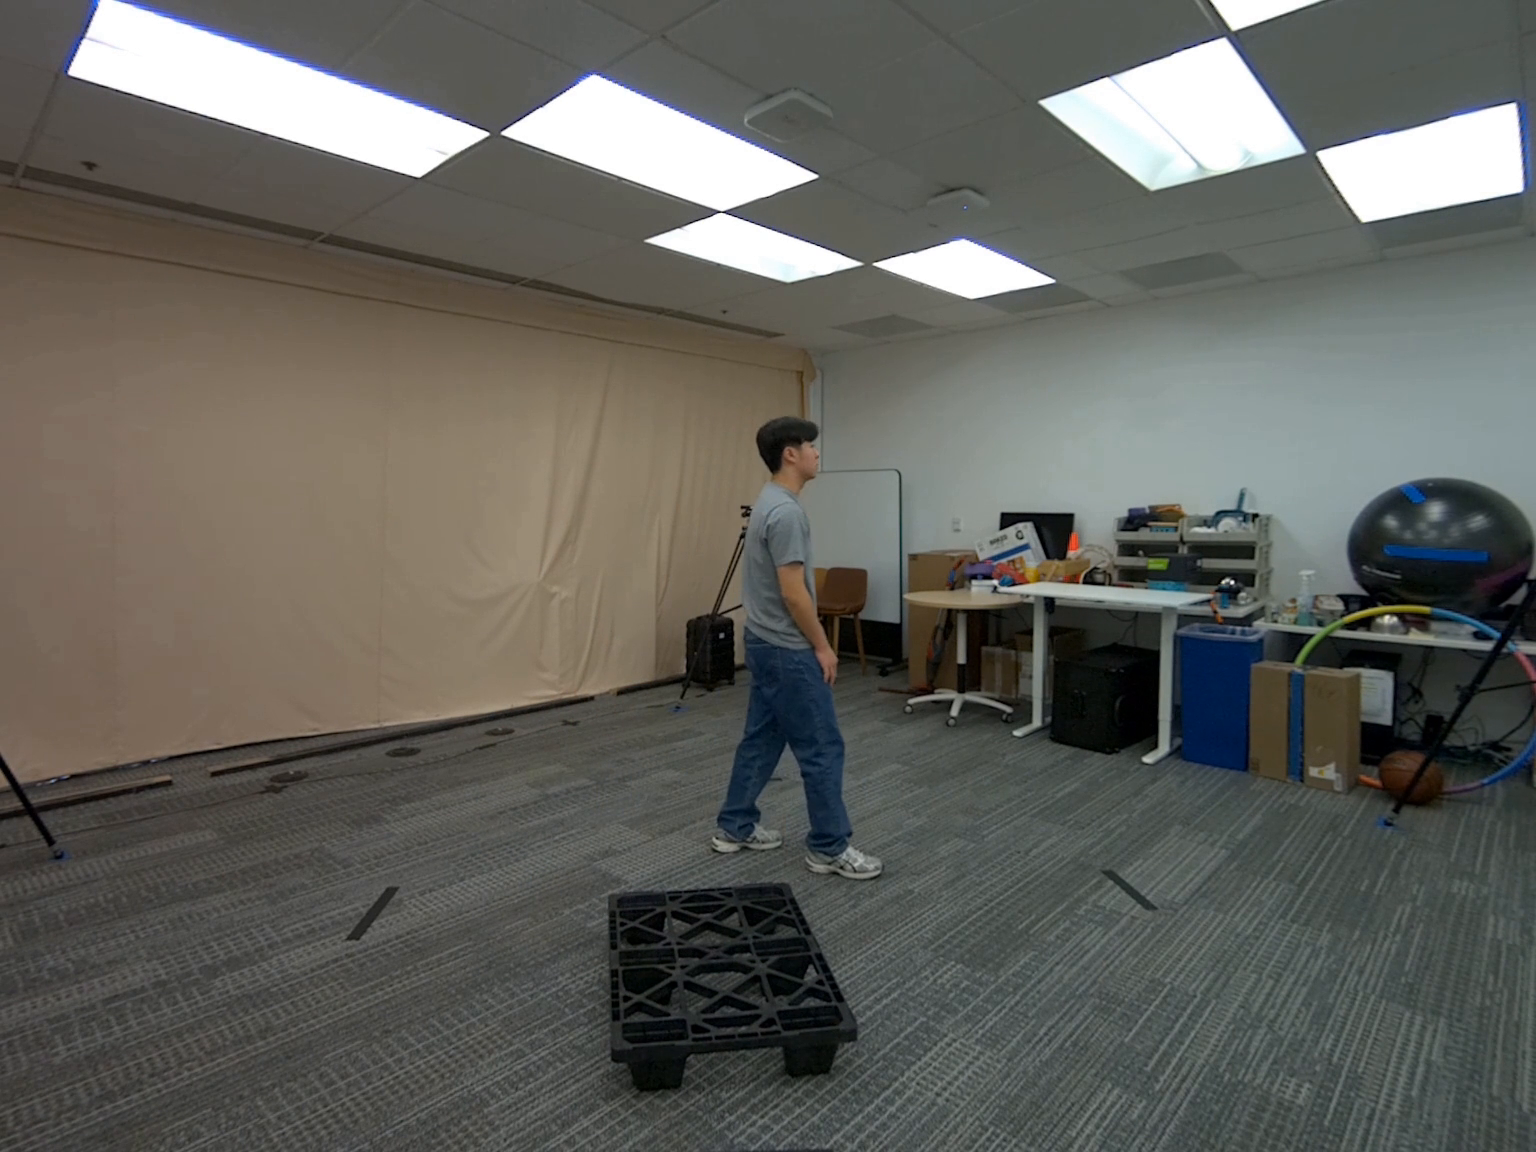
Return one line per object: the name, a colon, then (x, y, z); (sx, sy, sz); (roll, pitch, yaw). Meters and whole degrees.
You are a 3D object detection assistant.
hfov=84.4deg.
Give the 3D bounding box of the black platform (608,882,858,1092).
black platform: (-0.144, 1.128, 2.389); (0.599, 0.143, 0.816); (-1, 5, -10)
